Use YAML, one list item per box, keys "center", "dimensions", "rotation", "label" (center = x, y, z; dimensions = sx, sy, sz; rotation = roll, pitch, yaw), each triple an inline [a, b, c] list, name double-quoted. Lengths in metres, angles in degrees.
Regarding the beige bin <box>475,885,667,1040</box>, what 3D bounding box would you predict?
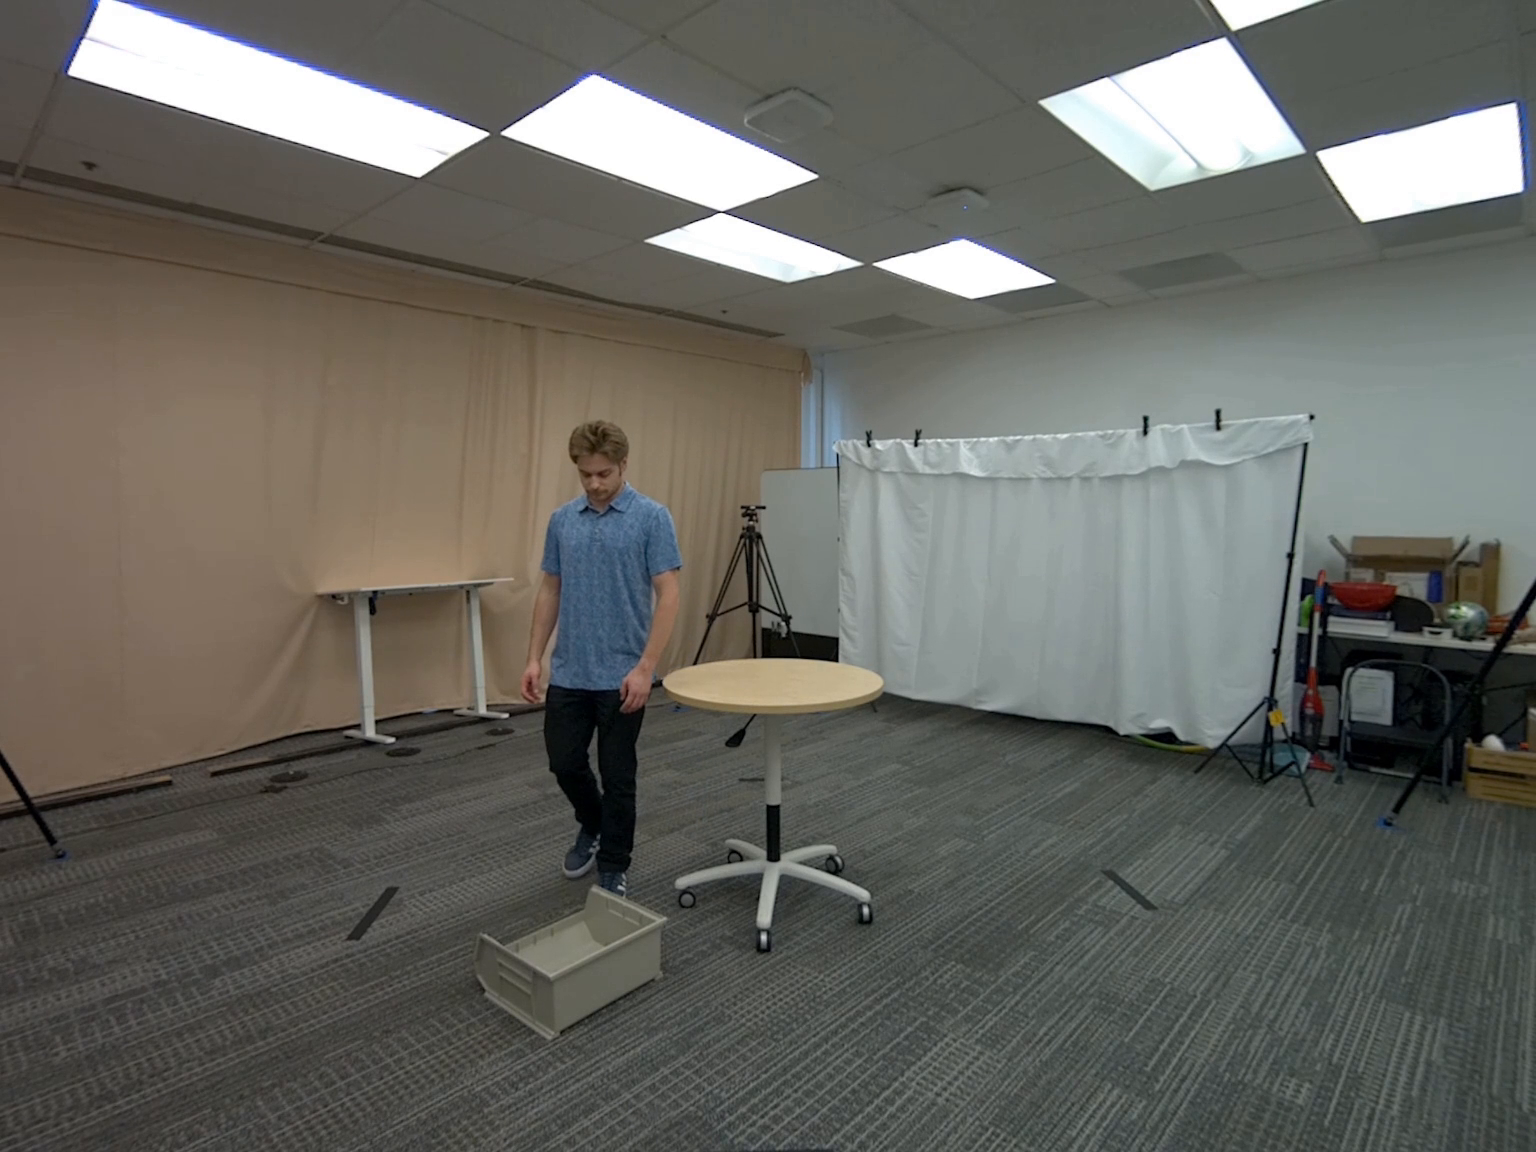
- center: [-0.573, 1.103, 2.457]
  dimensions: [0.390, 0.188, 0.409]
  rotation: [4, 5, 40]
  label: "beige bin"
